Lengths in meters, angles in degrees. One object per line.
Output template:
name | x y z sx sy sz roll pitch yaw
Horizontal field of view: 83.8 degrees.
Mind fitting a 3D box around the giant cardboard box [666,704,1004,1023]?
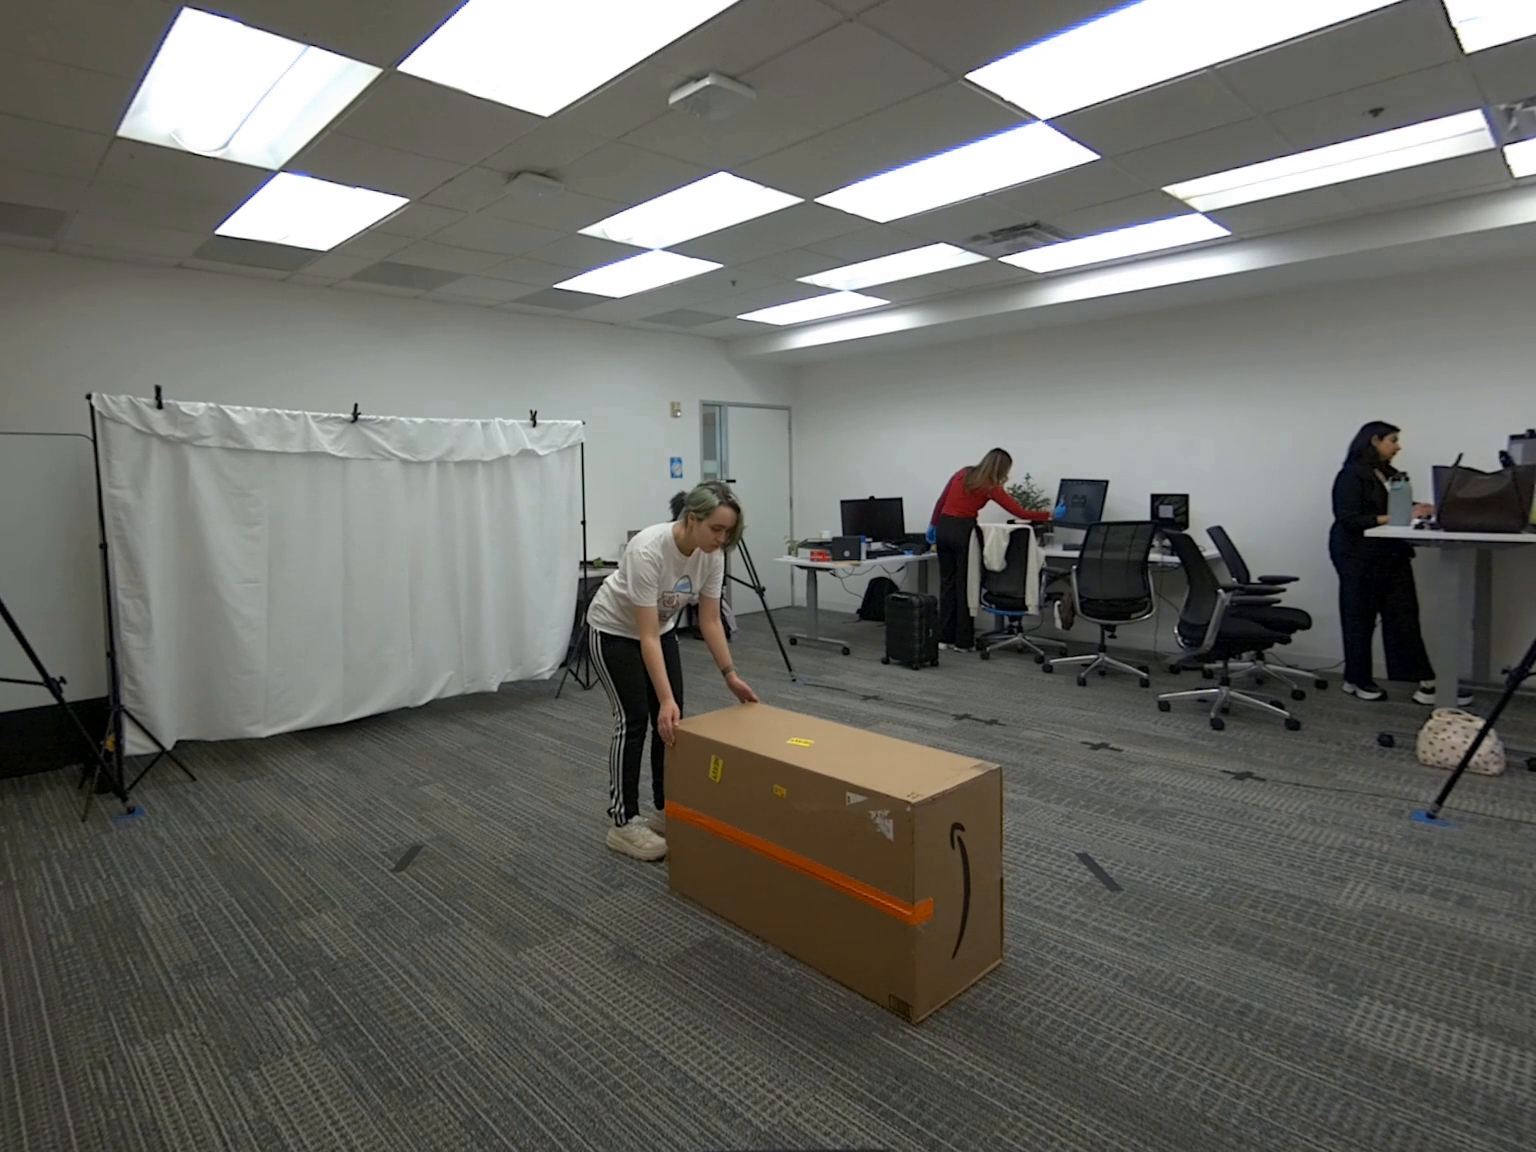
giant cardboard box | 0.163 0.805 2.674 0.435 0.581 1.059 -6 7 -43
